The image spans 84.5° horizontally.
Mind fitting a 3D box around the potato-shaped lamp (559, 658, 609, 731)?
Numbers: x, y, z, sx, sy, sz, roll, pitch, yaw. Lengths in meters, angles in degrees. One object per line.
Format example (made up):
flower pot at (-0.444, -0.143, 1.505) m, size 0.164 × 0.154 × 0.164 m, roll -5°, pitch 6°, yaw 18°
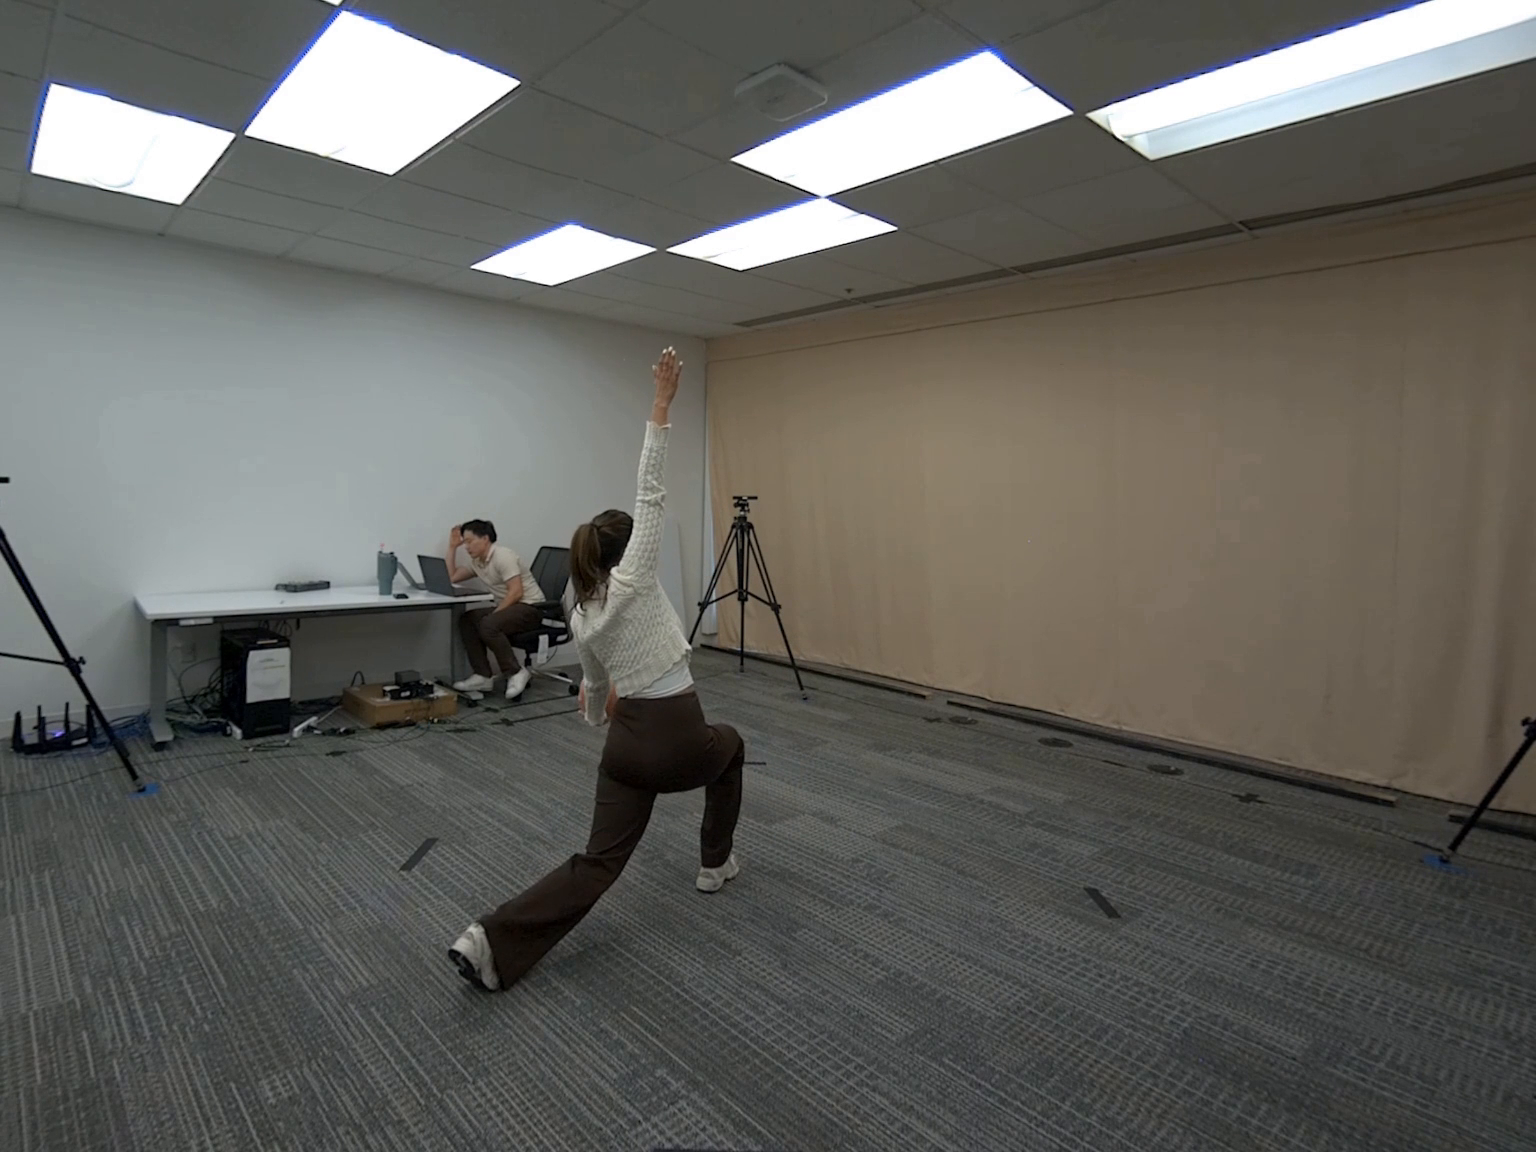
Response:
potato-shaped lamp at (-0.665, 0.456, 3.266) m, size 0.175 × 0.166 × 0.193 m, roll 14°, pitch -33°, yaw 20°
